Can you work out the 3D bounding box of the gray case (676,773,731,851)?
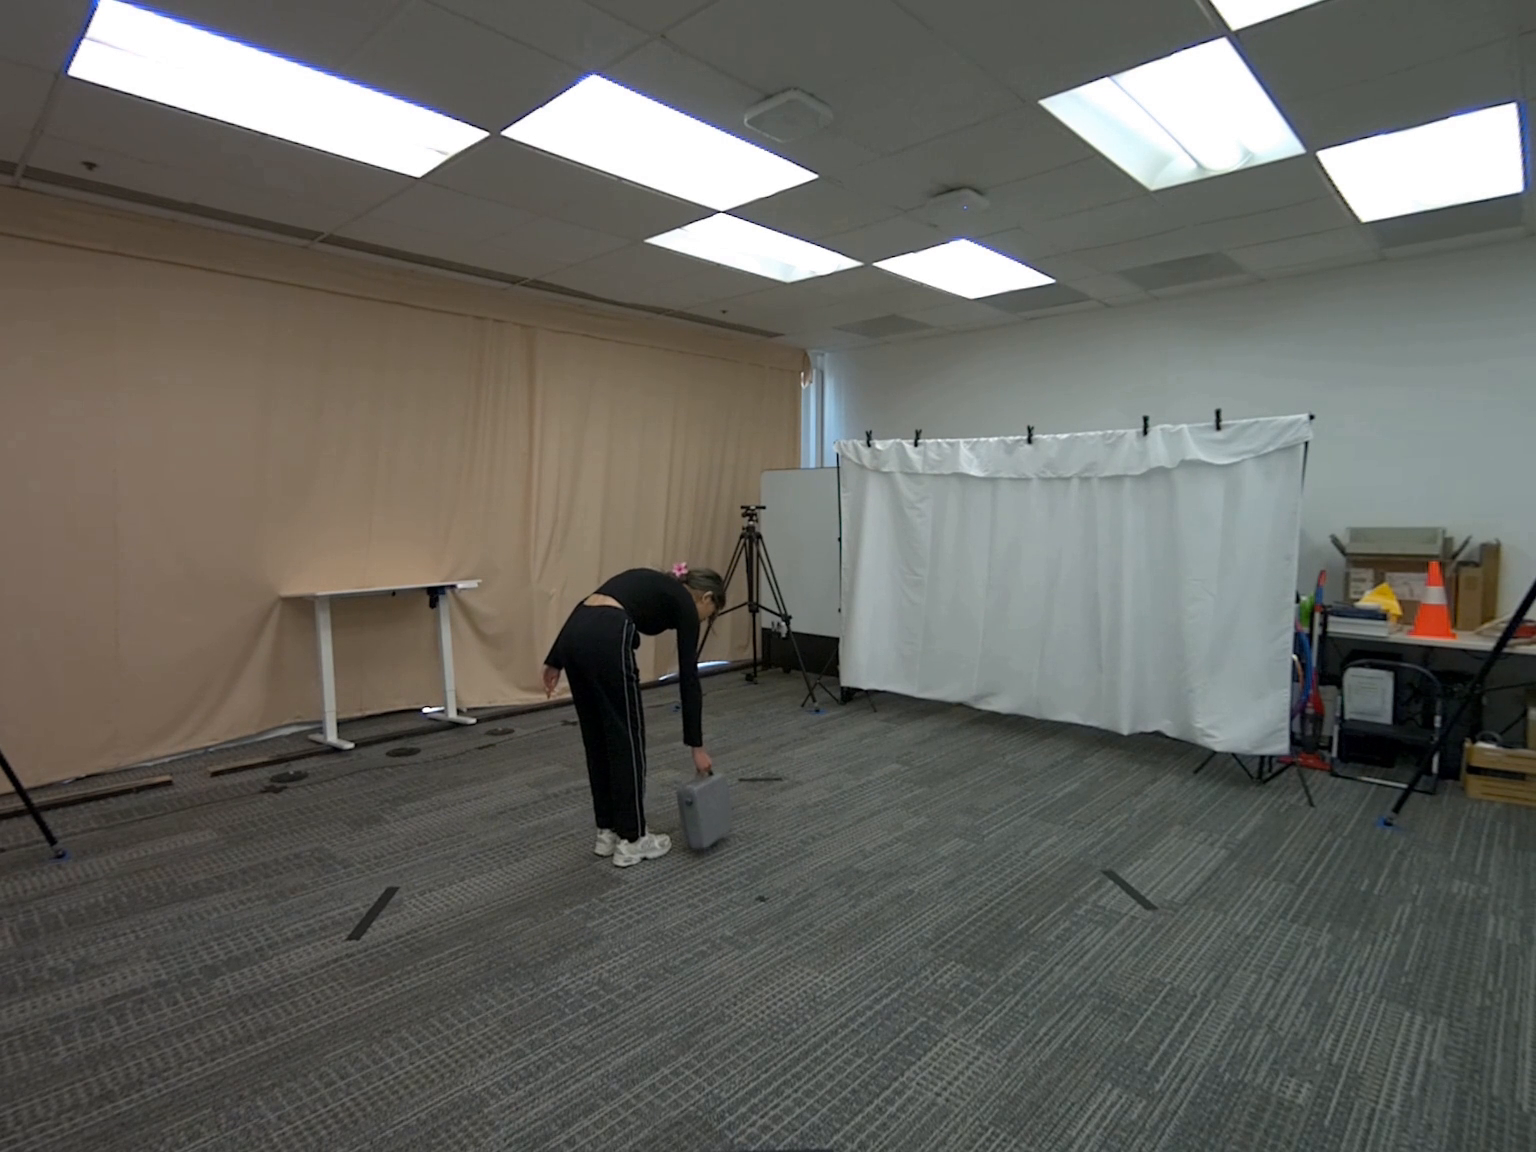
[{"bbox_3d":[-0.251,0.942,3.427,0.107,0.260,0.250,-5,2,30],"label":"gray case"}]
